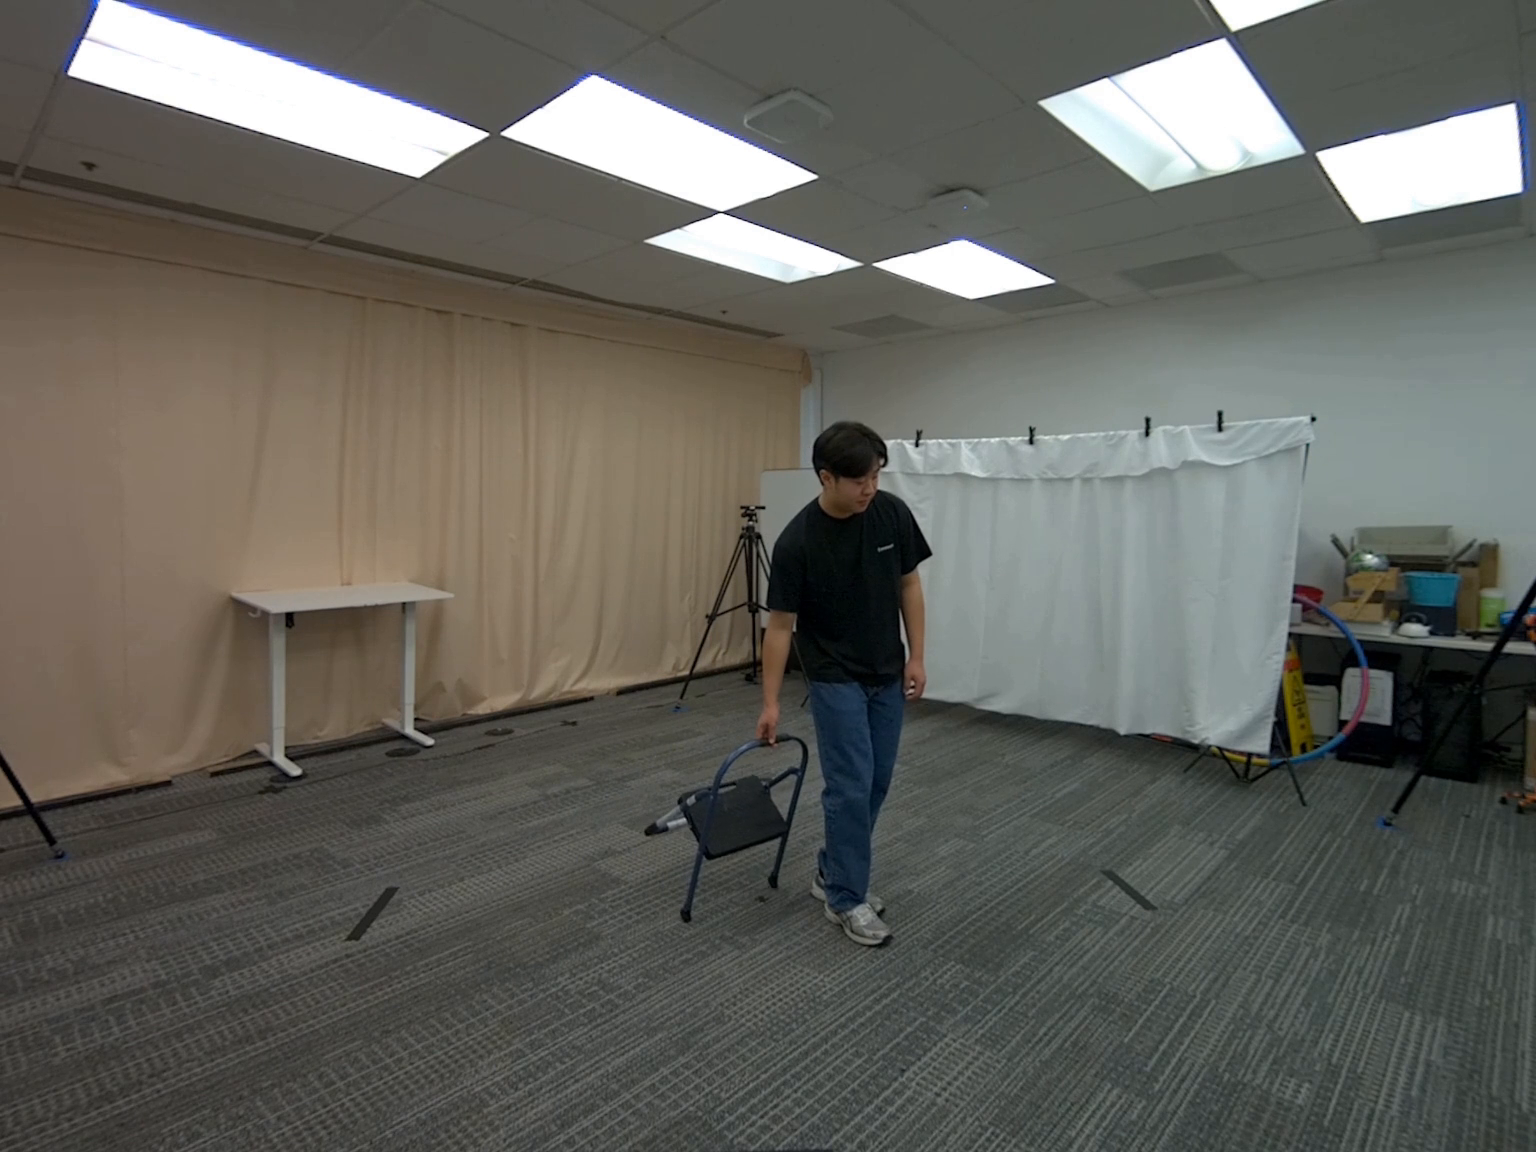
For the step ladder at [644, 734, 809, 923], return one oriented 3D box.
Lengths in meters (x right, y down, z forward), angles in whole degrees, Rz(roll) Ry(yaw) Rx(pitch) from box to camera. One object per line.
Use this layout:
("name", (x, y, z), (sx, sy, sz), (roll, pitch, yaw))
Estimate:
("step ladder", (-0.077, 0.809, 2.888), (0.417, 0.606, 0.360), (-3, 45, -41))
